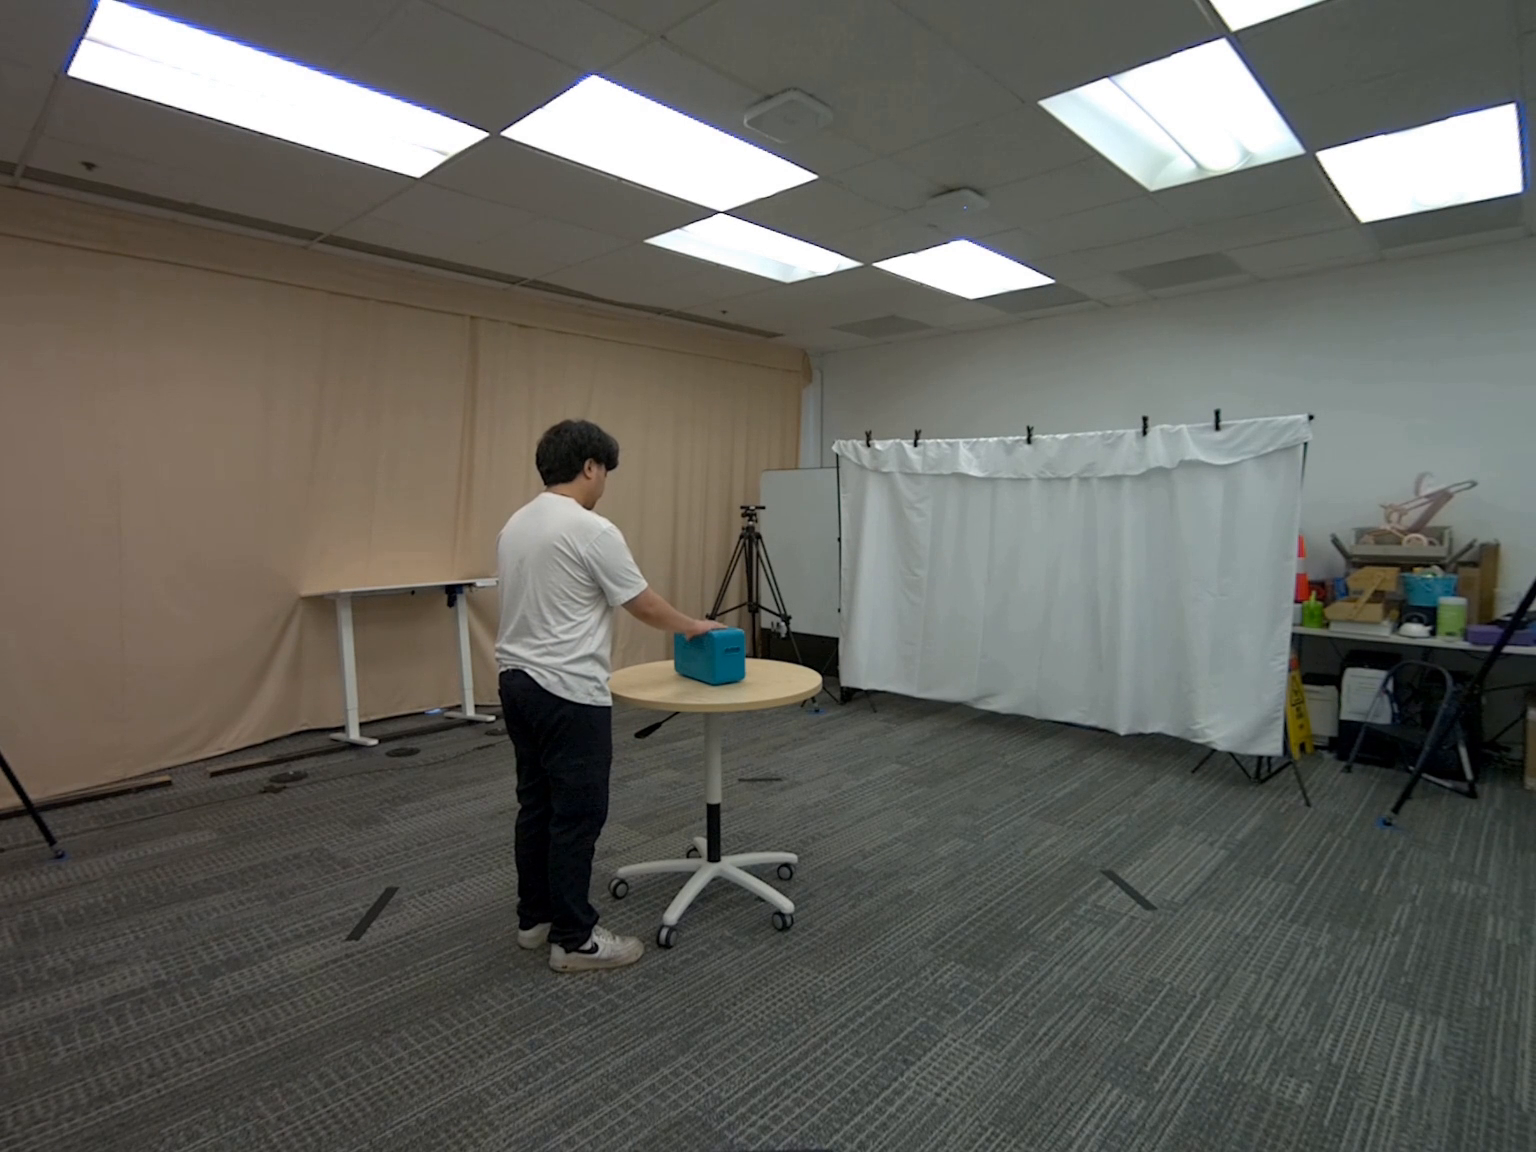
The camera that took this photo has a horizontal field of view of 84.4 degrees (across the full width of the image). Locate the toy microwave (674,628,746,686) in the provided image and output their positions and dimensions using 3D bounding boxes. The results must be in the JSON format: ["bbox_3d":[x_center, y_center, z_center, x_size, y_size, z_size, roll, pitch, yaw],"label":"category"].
[{"bbox_3d":[-0.201,0.264,2.935,0.148,0.184,0.295,-3,5,-33],"label":"toy microwave"}]
